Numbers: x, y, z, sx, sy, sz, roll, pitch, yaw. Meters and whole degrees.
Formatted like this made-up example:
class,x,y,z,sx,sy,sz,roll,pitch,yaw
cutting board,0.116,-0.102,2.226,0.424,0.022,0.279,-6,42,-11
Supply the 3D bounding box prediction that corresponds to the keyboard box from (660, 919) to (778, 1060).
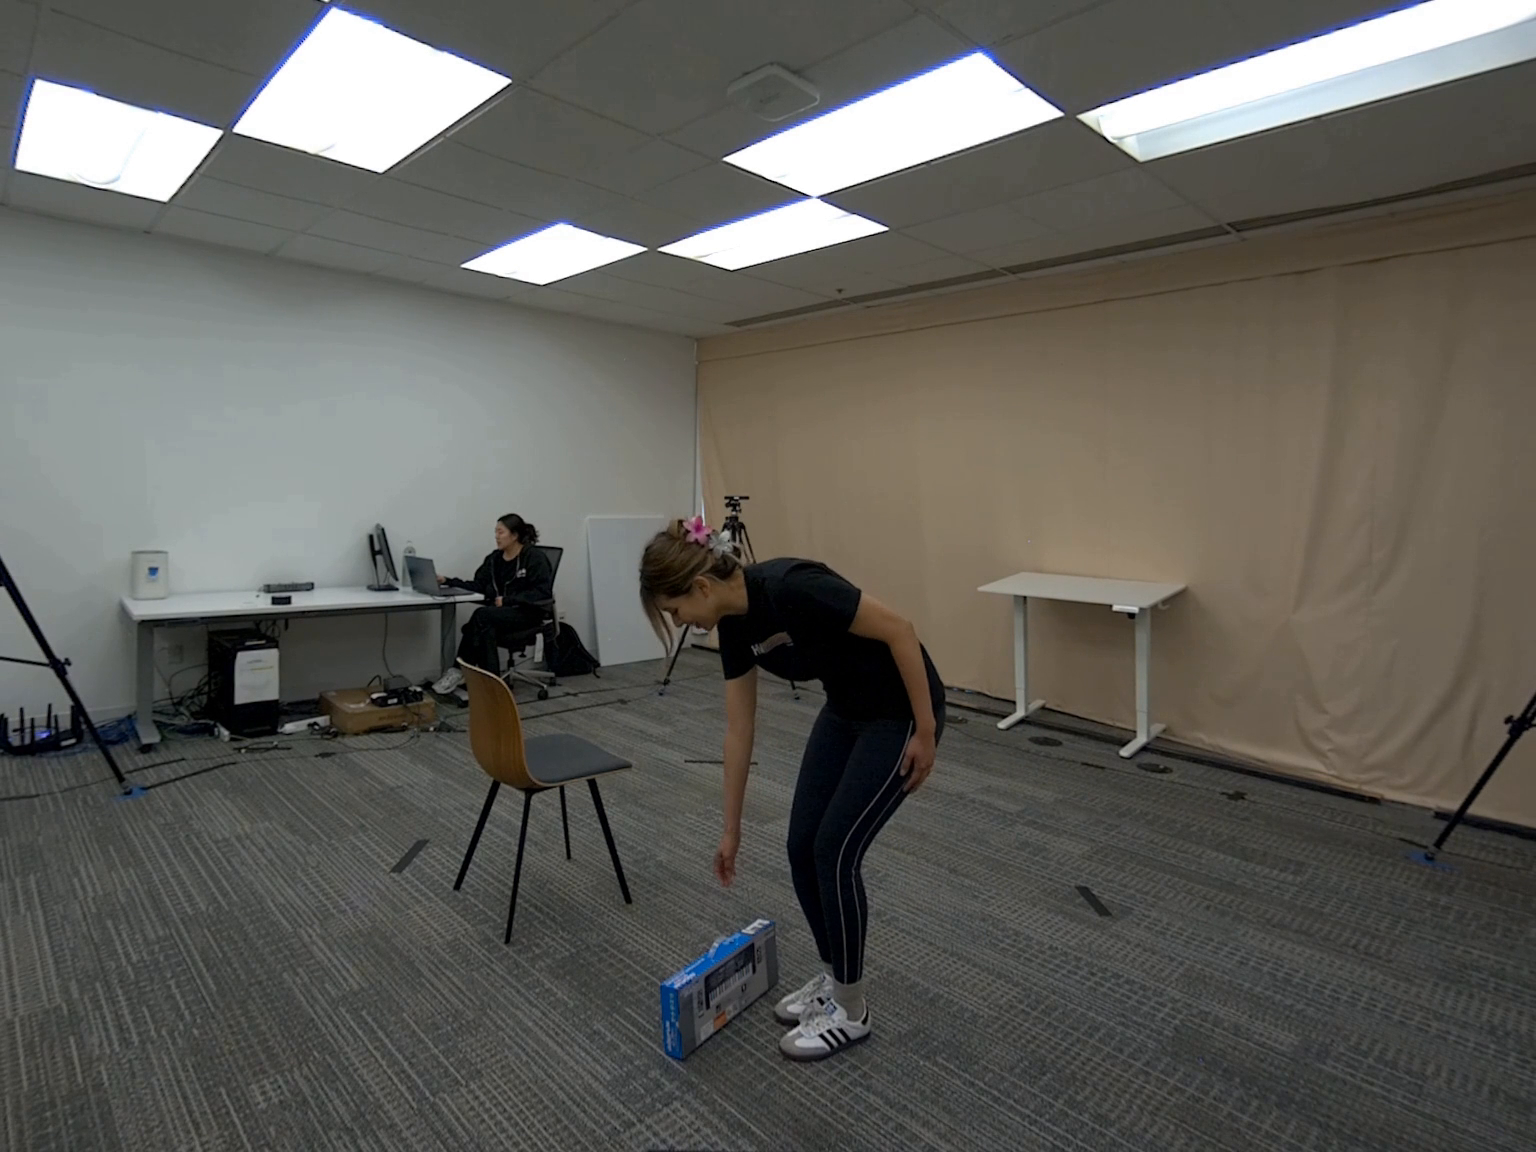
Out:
class,x,y,z,sx,sy,sz,roll,pitch,yaw
keyboard box,-0.123,1.098,2.258,0.060,0.176,0.427,-4,1,35
